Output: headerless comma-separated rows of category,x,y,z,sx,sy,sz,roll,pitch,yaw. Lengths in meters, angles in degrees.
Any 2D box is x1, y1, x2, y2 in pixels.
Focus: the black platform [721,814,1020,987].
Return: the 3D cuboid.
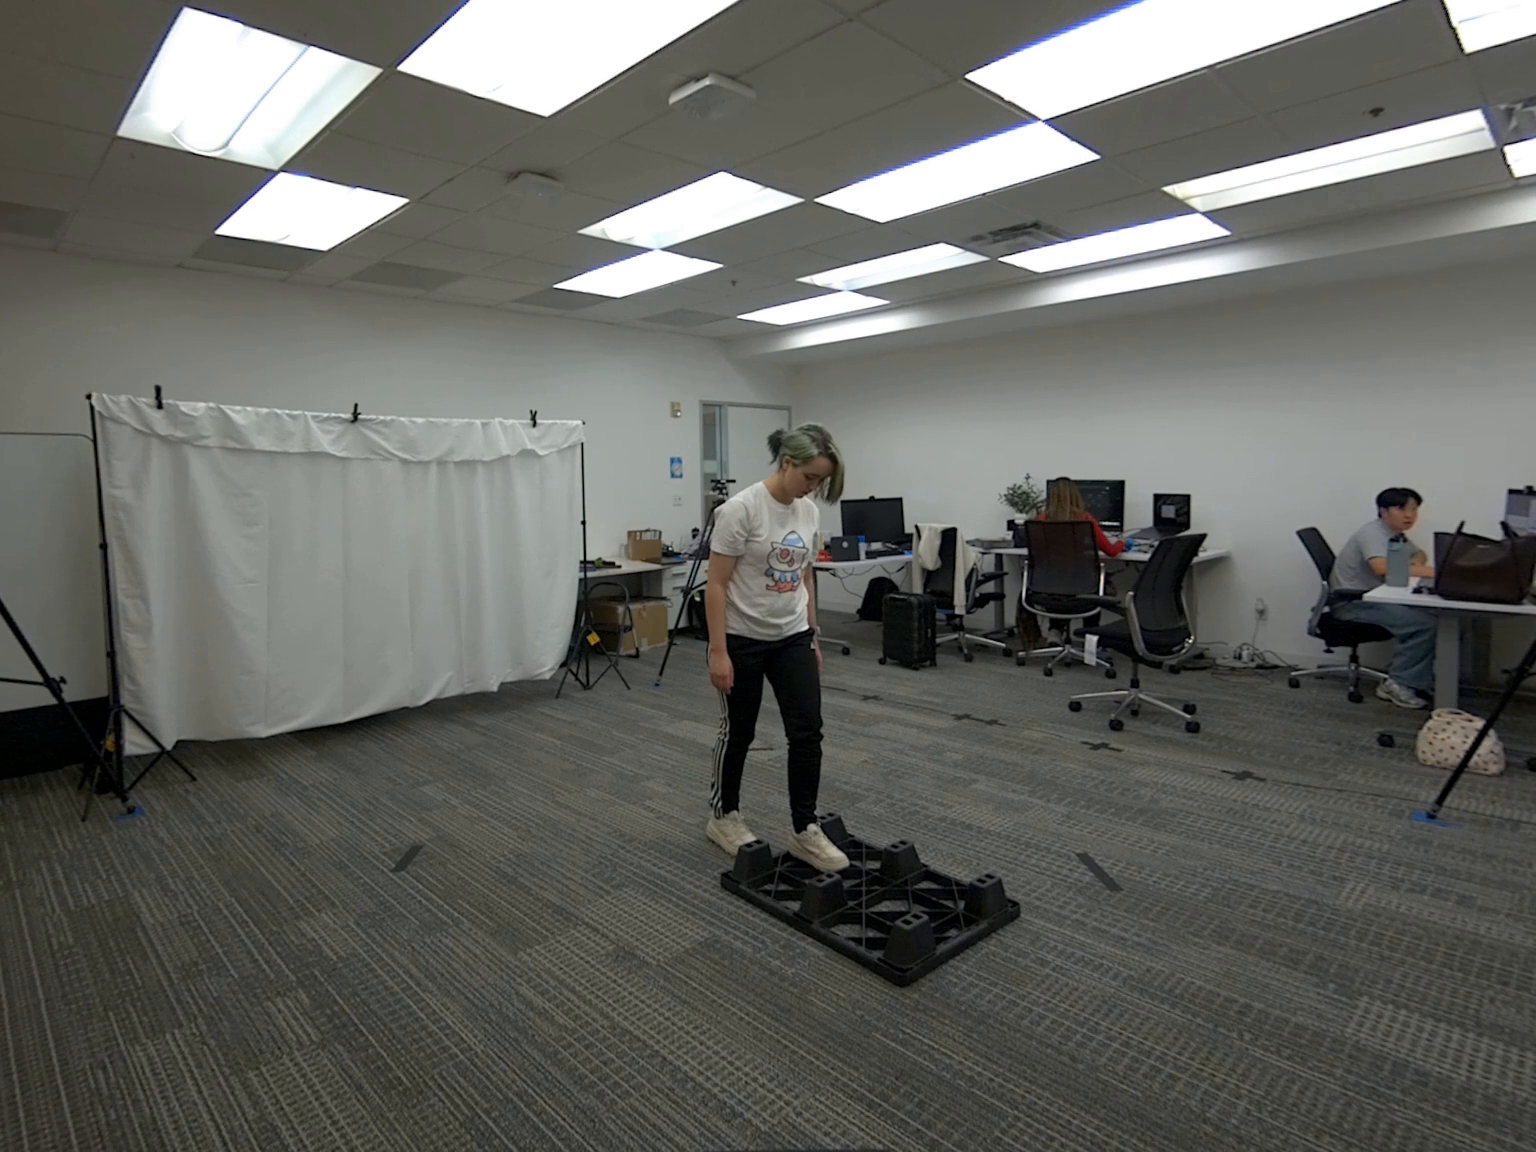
black platform,0.312,1.008,2.822,0.589,0.143,0.830,-6,8,-41
